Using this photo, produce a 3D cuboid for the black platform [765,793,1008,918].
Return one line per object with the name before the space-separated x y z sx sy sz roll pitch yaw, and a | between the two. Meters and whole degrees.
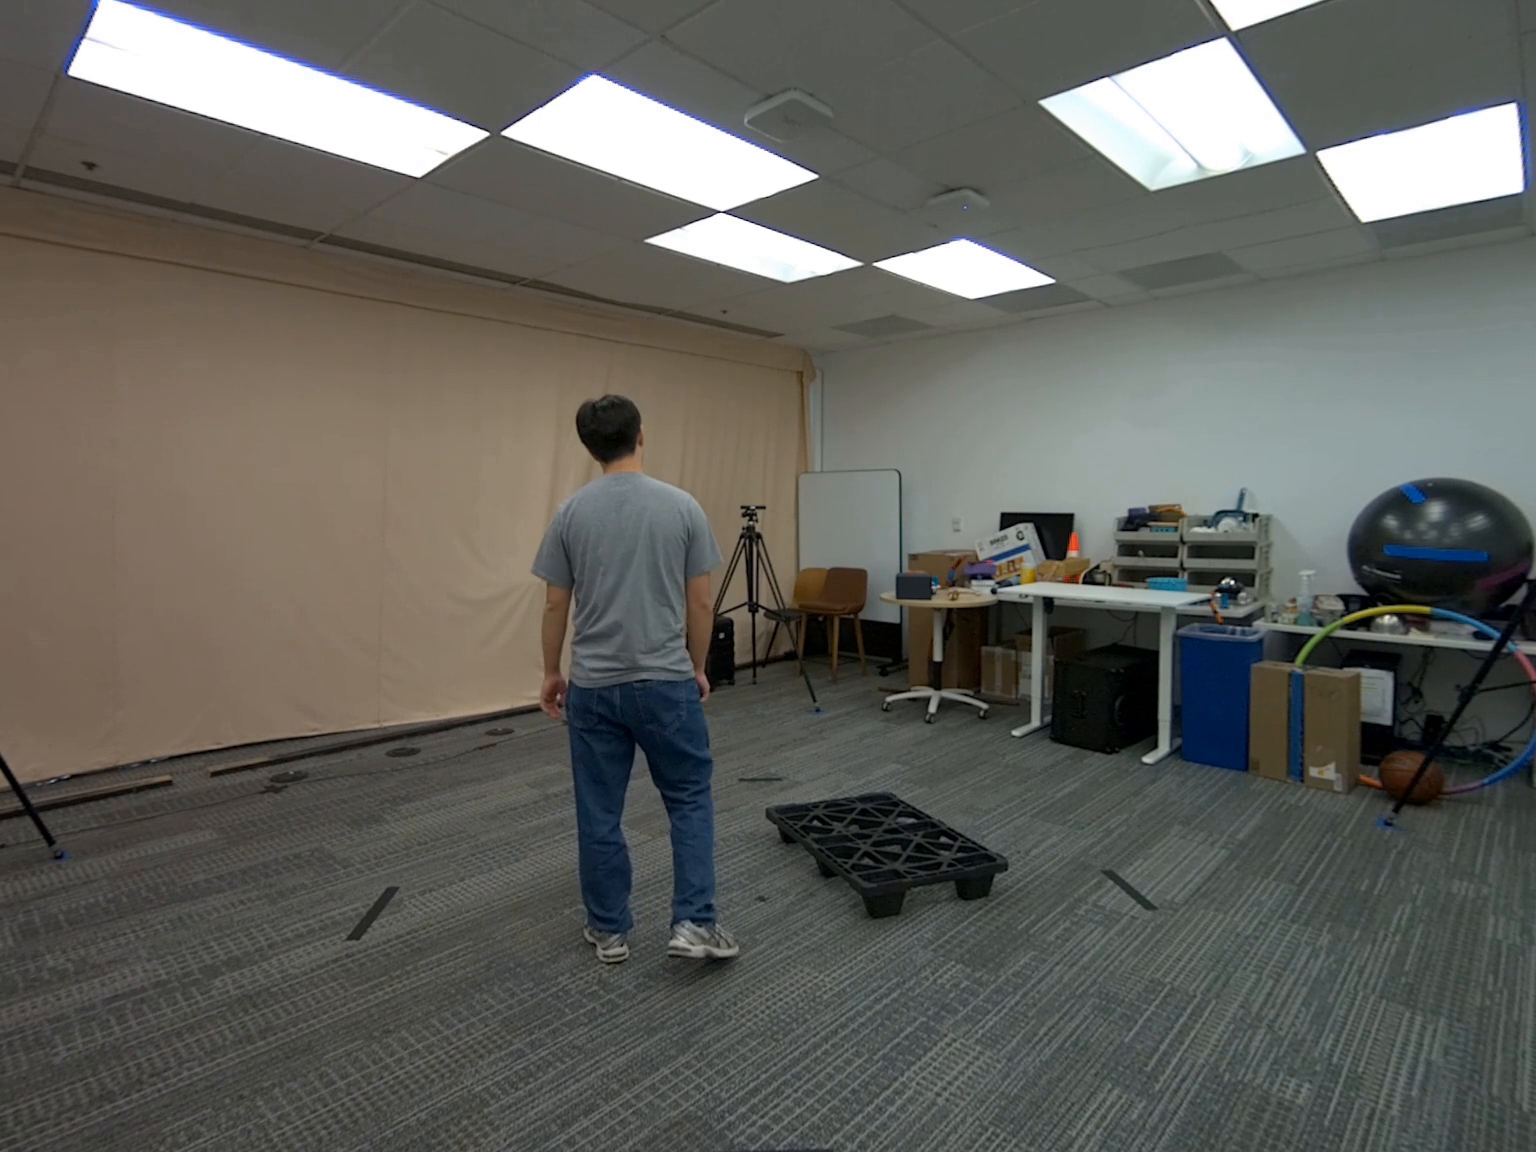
black platform | 0.423 1.052 3.238 0.592 0.143 0.825 -2 5 -23
